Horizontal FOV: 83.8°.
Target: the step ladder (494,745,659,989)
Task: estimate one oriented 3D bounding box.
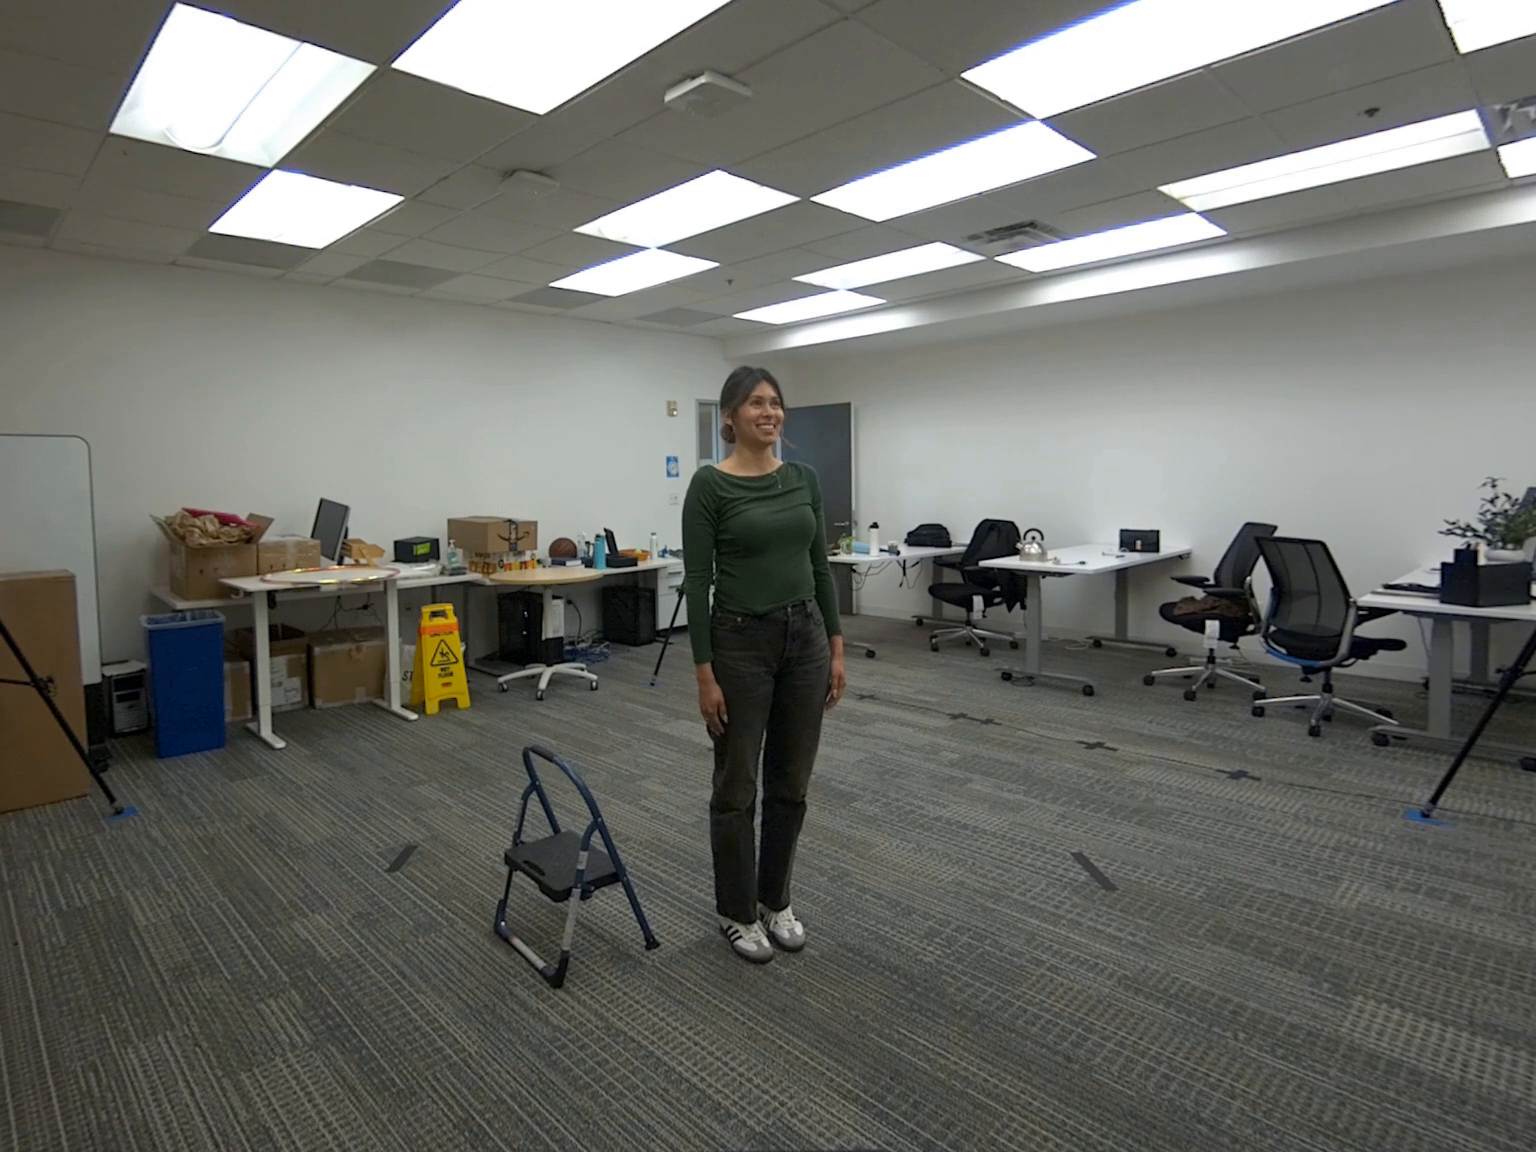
[{"bbox_3d":[-0.597,0.812,2.605,0.340,0.604,0.443,-5,5,-41],"label":"step ladder"}]
